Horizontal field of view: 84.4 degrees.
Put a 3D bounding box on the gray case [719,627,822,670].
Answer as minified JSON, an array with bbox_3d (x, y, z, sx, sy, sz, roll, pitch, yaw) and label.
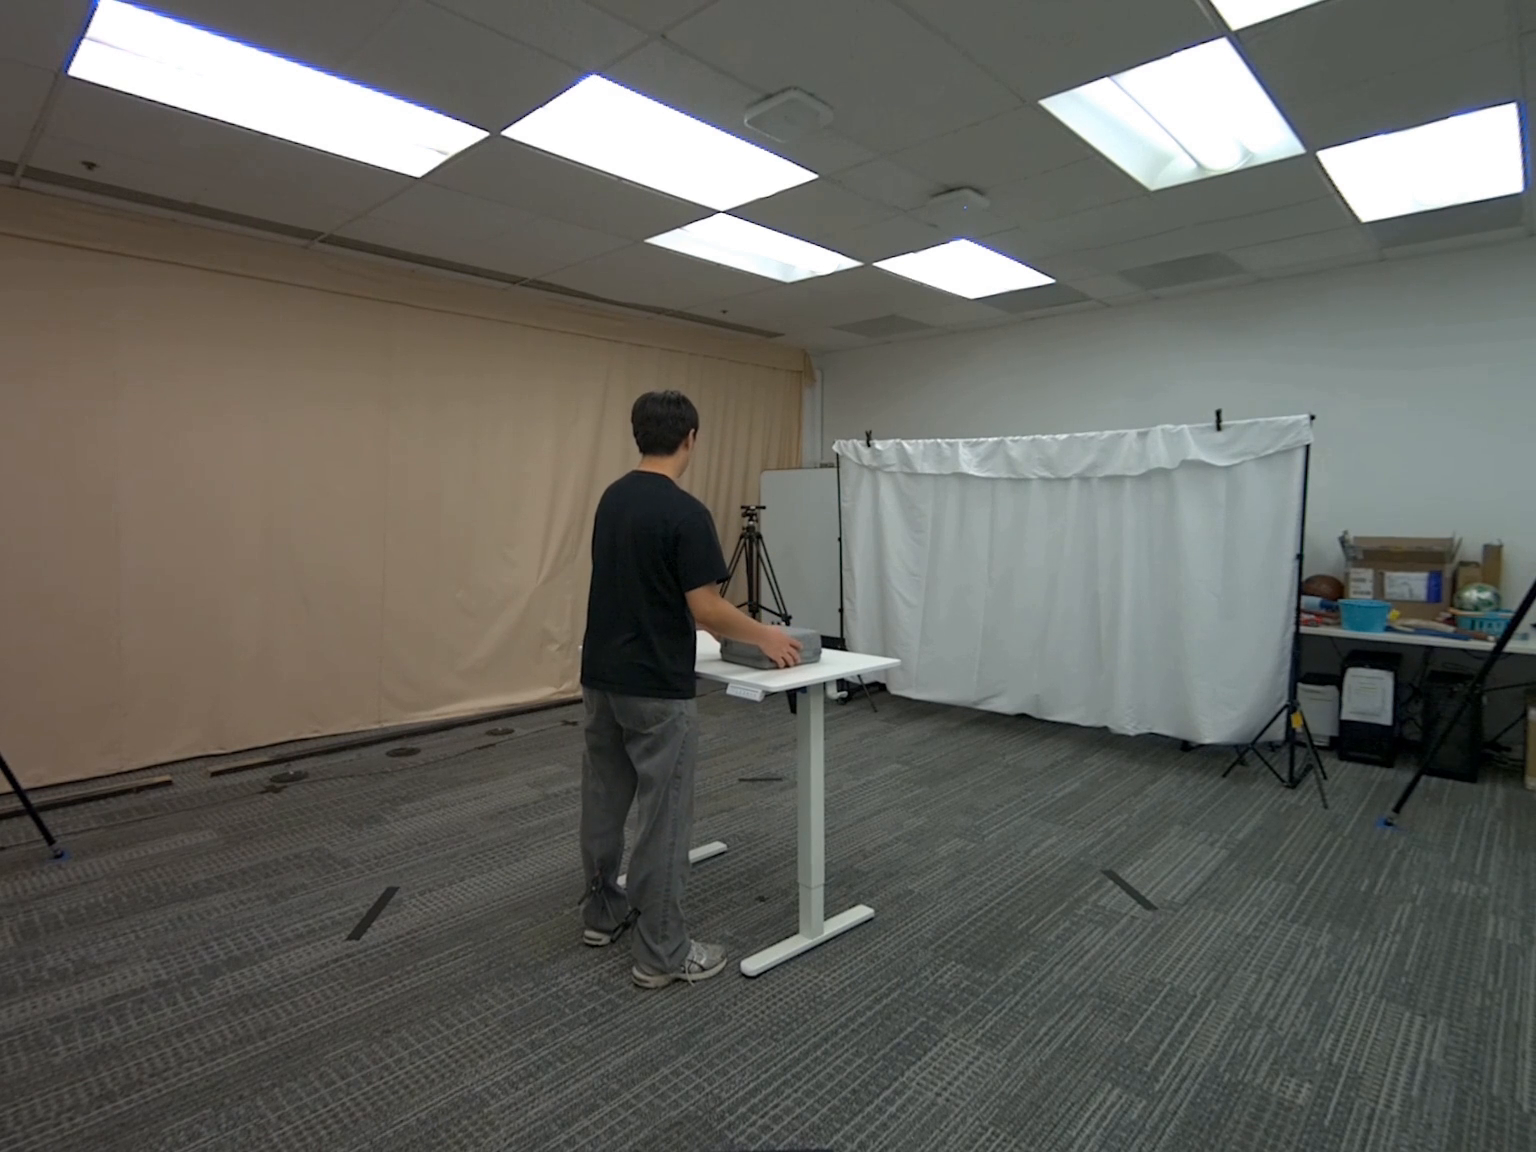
[{"bbox_3d":[0.009,0.228,2.760,0.255,0.103,0.296,-3,5,-37],"label":"gray case"}]
